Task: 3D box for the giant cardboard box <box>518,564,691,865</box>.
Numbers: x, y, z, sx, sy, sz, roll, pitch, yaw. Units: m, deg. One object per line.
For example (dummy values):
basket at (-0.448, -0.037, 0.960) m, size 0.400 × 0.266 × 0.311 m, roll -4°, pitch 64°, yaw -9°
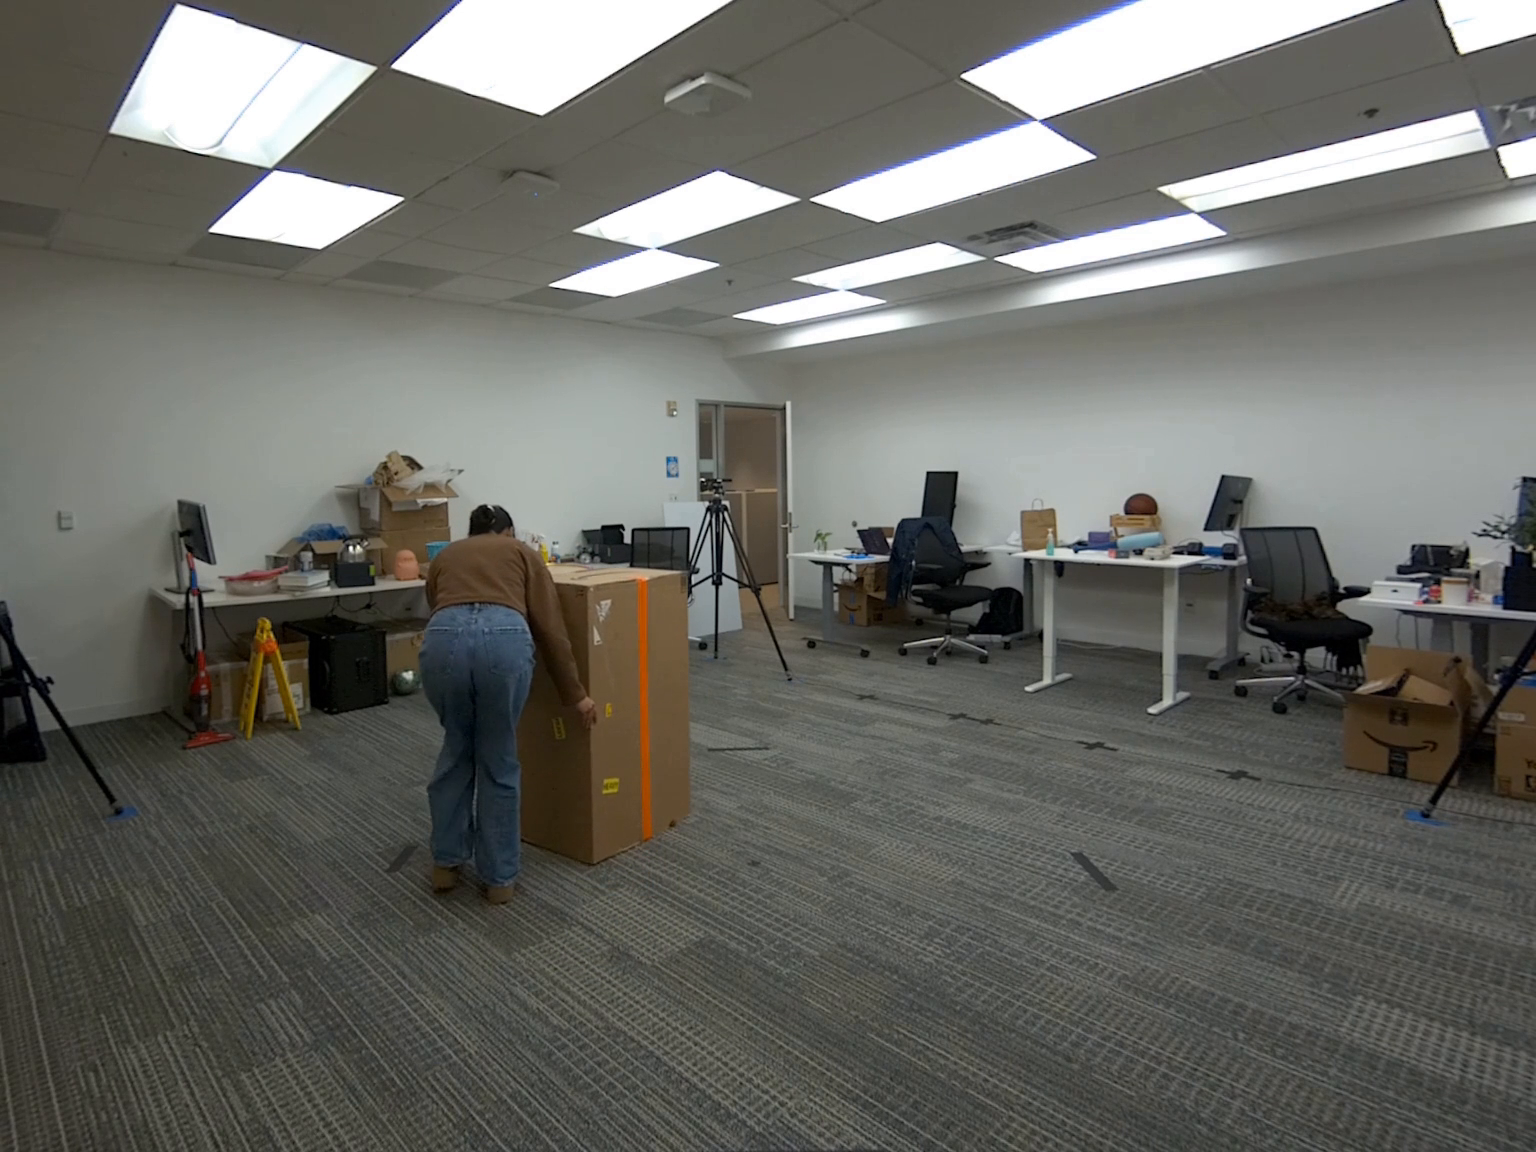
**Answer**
giant cardboard box at (-0.652, 0.510, 3.432) m, size 0.438 × 1.023 × 0.563 m, roll 2°, pitch 4°, yaw 35°
